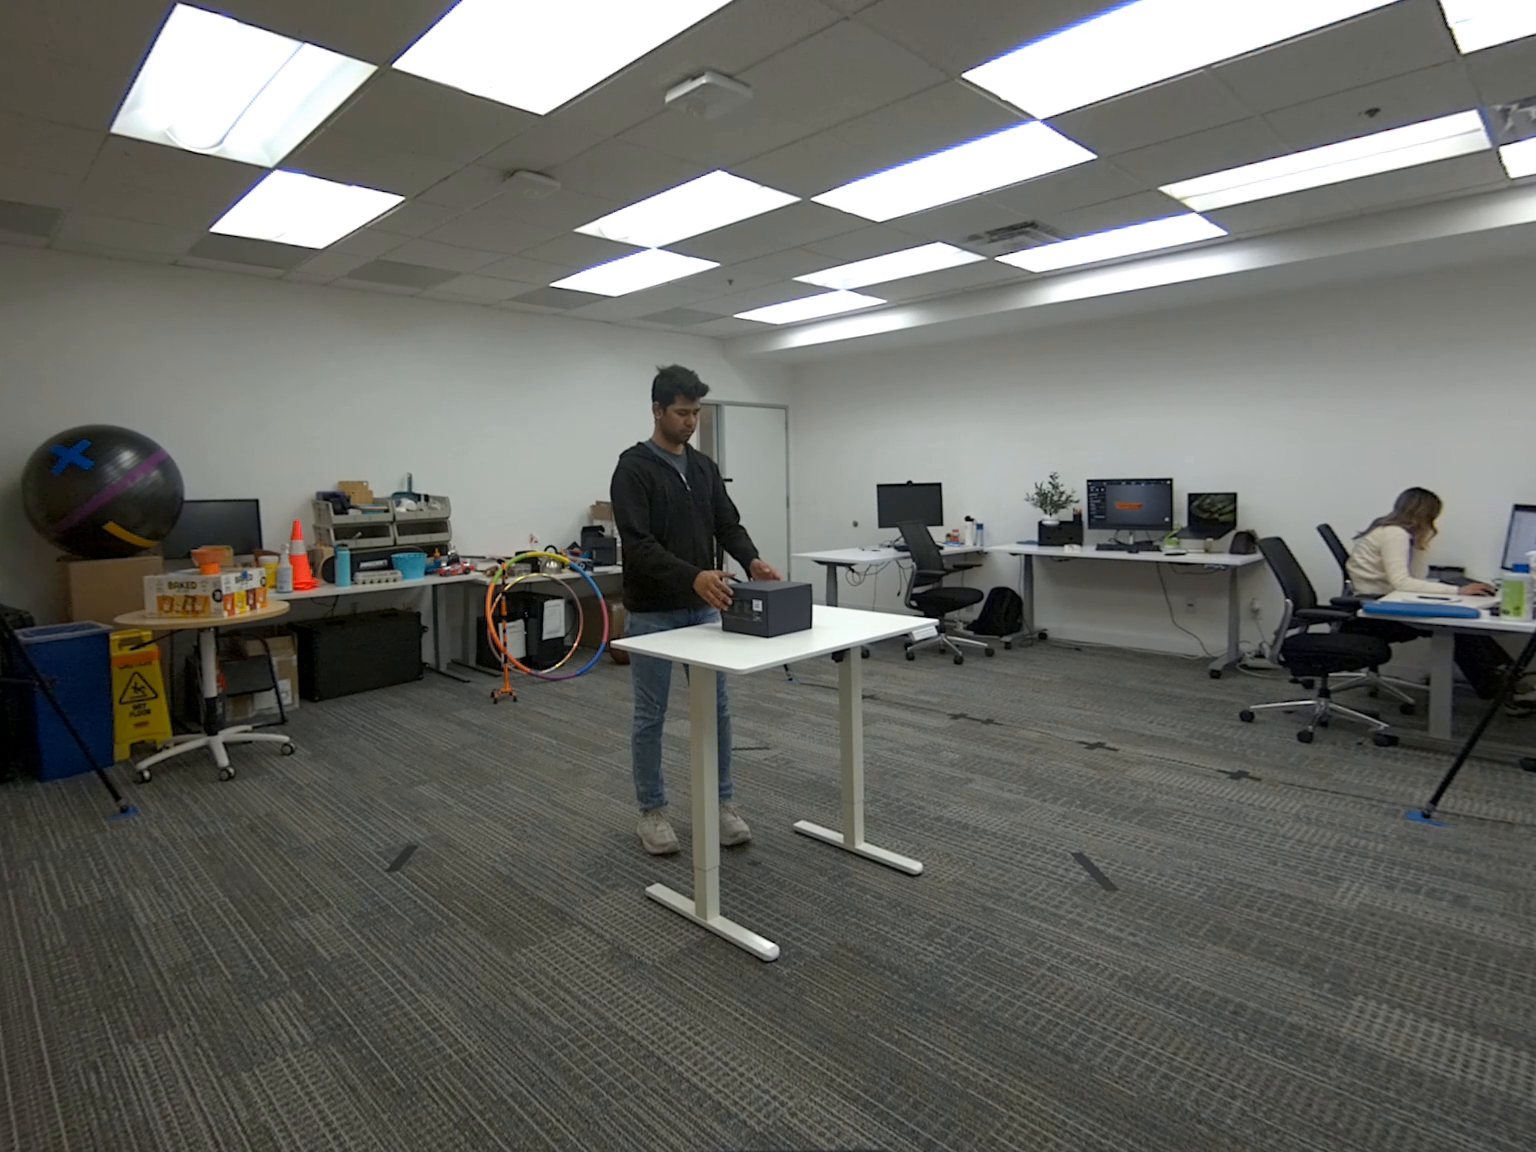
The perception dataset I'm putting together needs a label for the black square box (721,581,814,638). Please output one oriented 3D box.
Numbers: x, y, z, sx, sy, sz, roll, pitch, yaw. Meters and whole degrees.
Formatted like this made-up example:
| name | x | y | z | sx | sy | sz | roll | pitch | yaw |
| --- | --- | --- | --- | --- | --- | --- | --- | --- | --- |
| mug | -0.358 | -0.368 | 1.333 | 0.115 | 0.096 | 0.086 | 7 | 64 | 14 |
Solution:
| name | x | y | z | sx | sy | sz | roll | pitch | yaw |
| --- | --- | --- | --- | --- | --- | --- | --- | --- | --- |
| black square box | 0.002 | 0.106 | 2.899 | 0.223 | 0.155 | 0.222 | 4 | 8 | 44 |
